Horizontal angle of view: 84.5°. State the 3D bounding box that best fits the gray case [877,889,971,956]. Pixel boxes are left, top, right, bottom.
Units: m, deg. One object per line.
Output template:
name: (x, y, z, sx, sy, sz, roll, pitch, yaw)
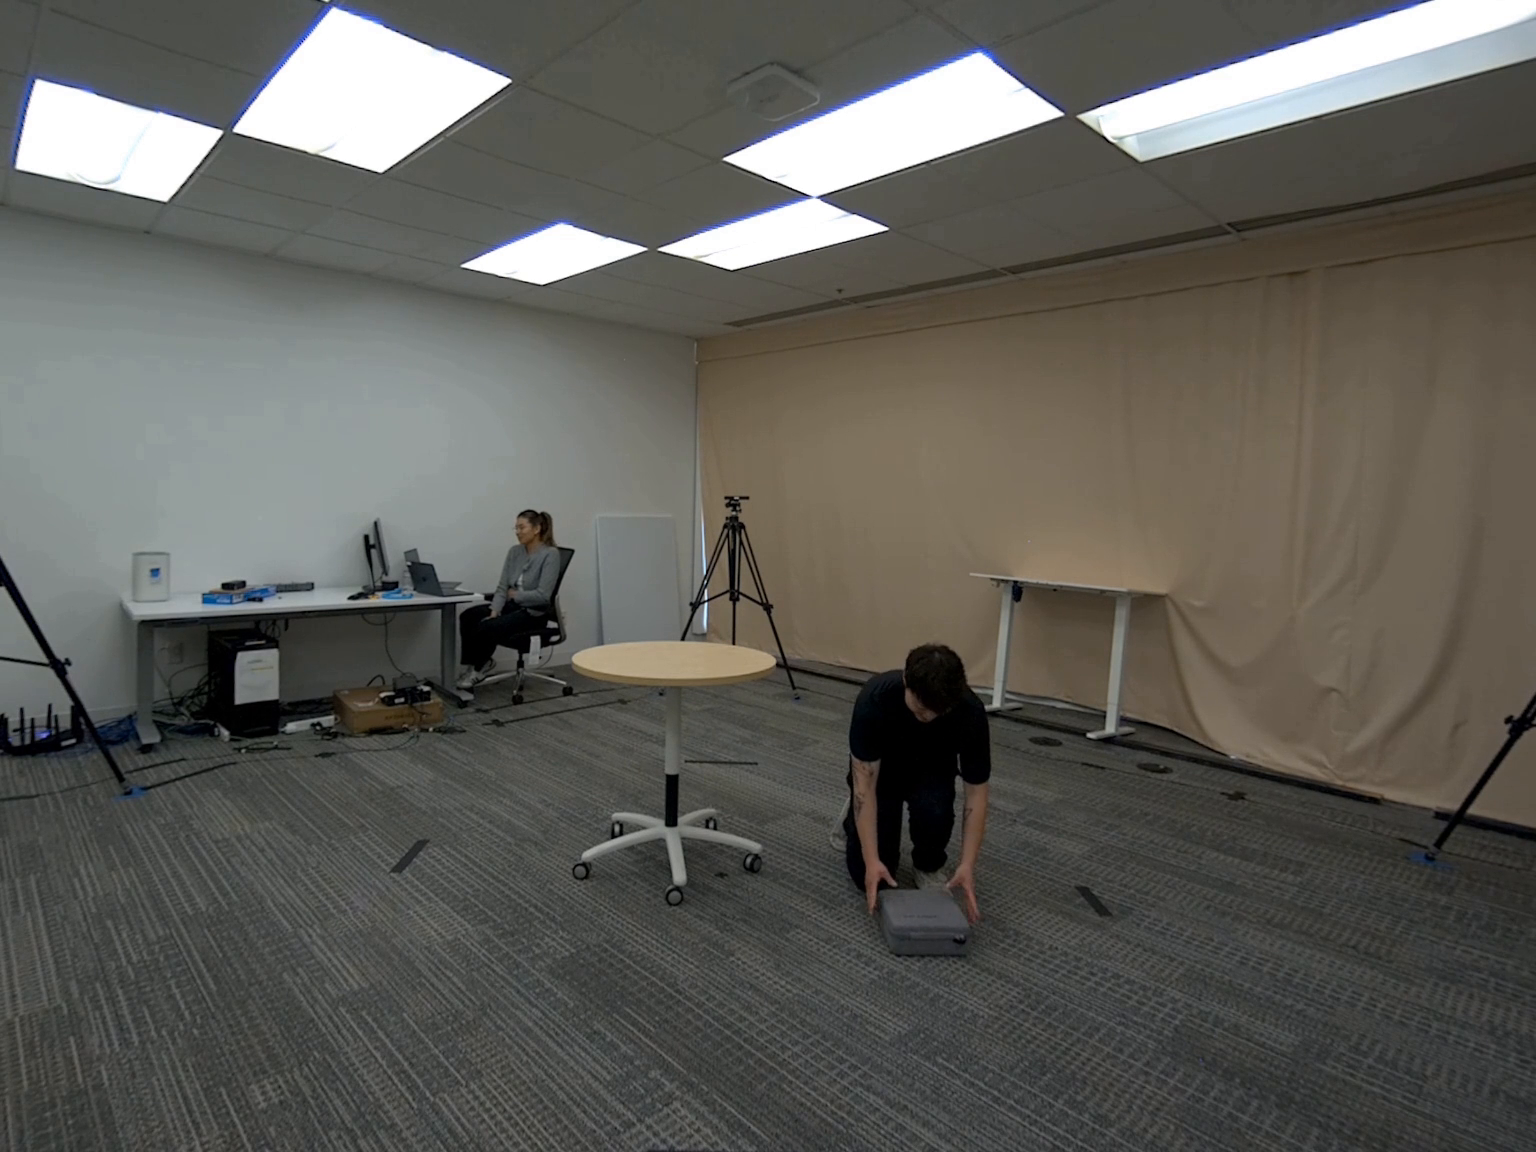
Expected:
gray case: (0.488, 1.106, 2.689, 0.256, 0.104, 0.262, 1, 5, -5)
